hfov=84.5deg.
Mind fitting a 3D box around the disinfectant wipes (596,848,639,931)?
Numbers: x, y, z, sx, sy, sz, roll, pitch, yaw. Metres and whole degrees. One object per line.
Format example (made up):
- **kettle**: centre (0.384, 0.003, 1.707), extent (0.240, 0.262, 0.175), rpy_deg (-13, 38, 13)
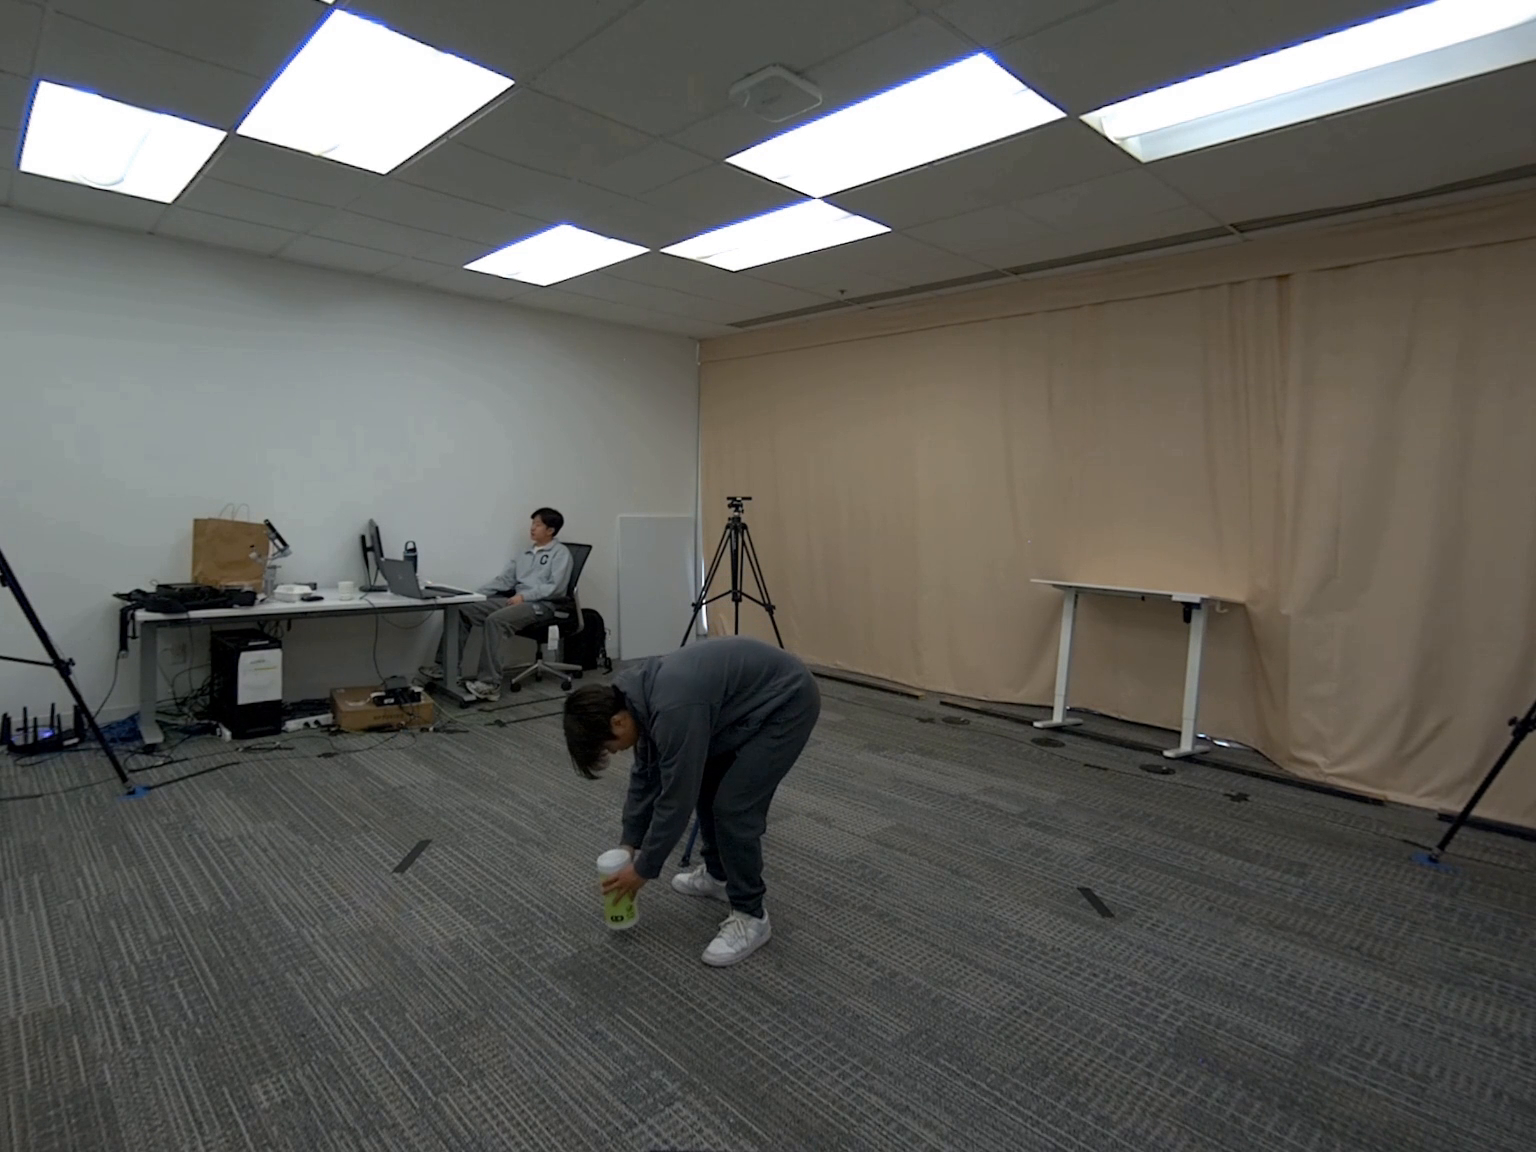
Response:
- **disinfectant wipes**: centre (-0.477, 0.982, 2.656), extent (0.118, 0.216, 0.118), rpy_deg (-9, 6, 0)
